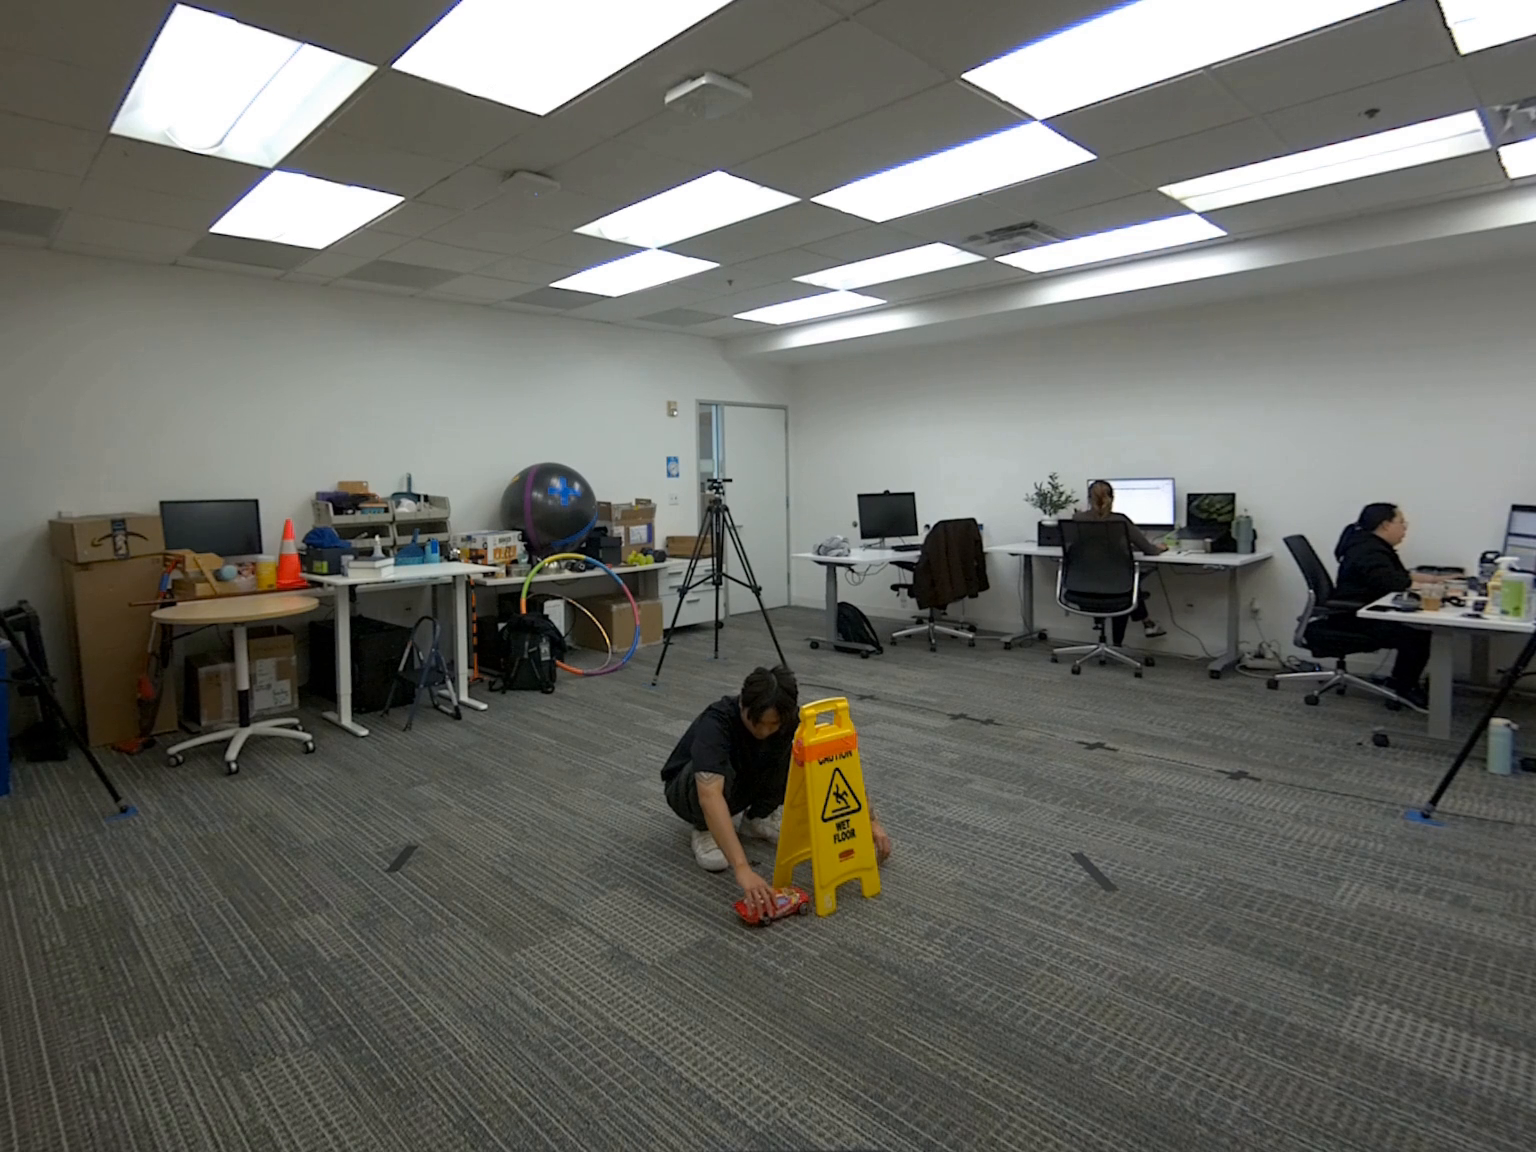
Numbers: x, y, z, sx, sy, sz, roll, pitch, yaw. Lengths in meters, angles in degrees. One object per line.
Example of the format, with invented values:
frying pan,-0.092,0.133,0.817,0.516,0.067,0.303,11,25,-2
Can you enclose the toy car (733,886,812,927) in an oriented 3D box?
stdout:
toy car,0.001,1.054,2.744,0.248,0.083,0.134,5,3,-29
